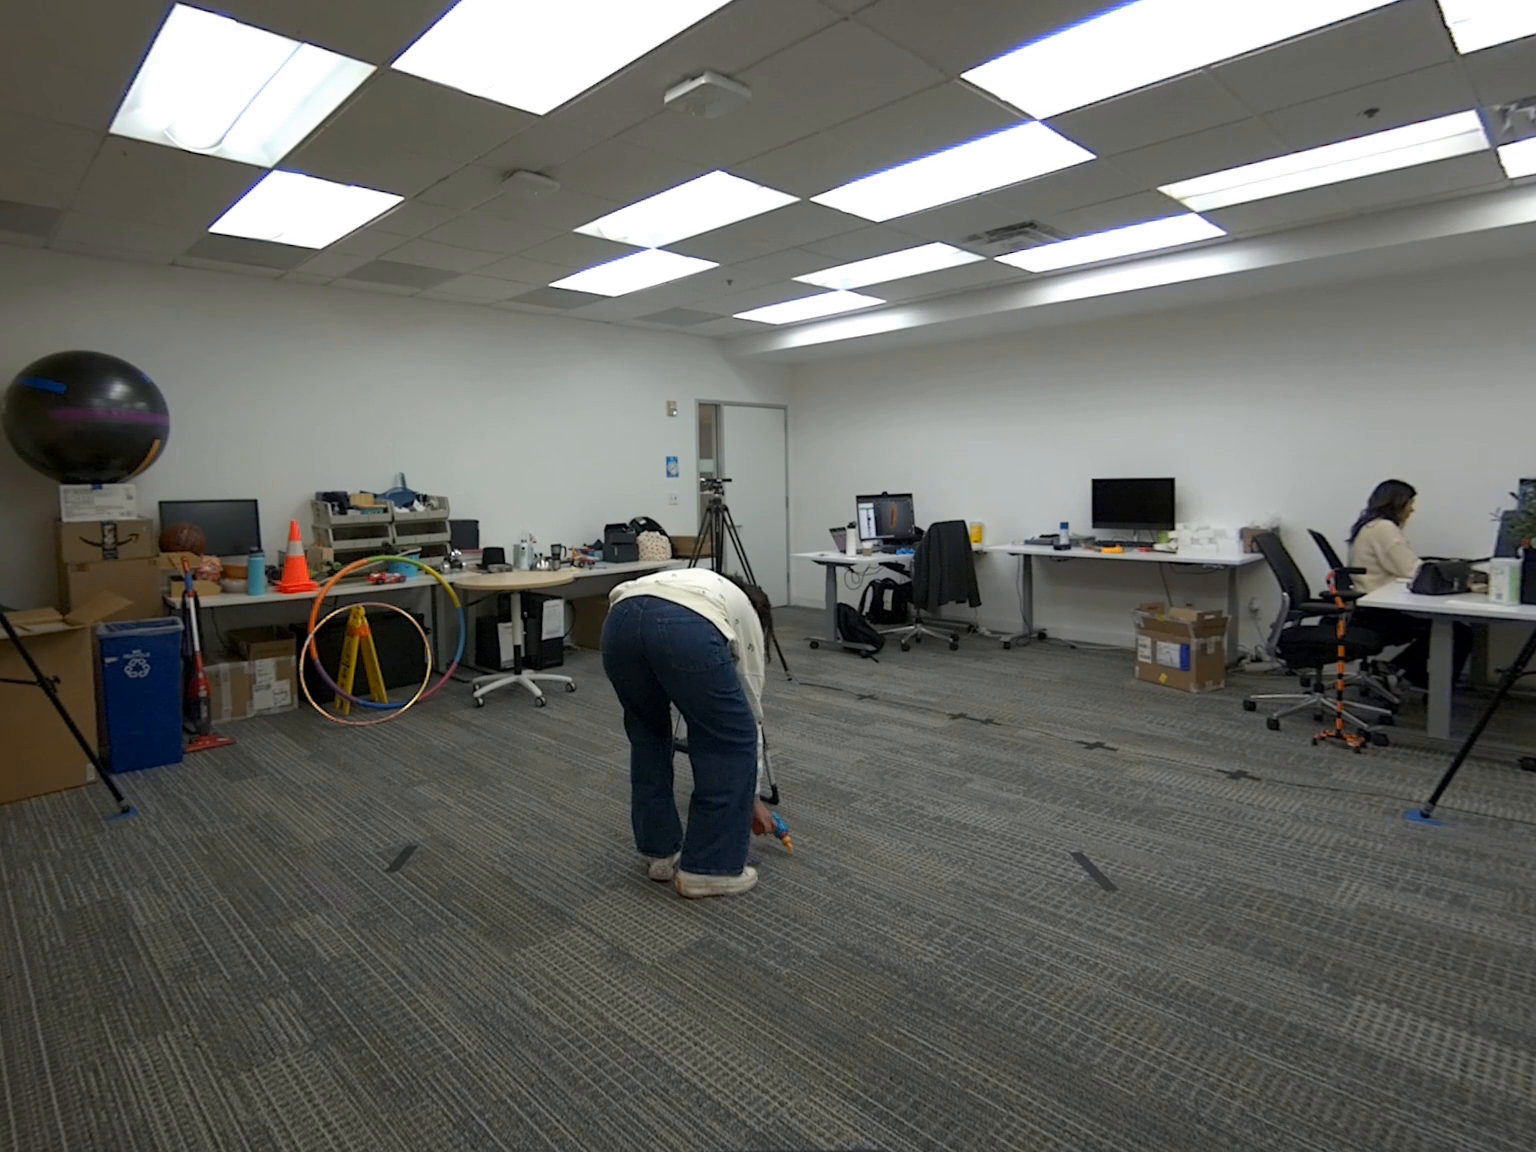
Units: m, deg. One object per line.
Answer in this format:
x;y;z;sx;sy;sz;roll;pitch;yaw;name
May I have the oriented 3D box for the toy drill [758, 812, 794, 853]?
0.026;0.960;3.181;0.142;0.060;0.176;-1;37;-37;toy drill
